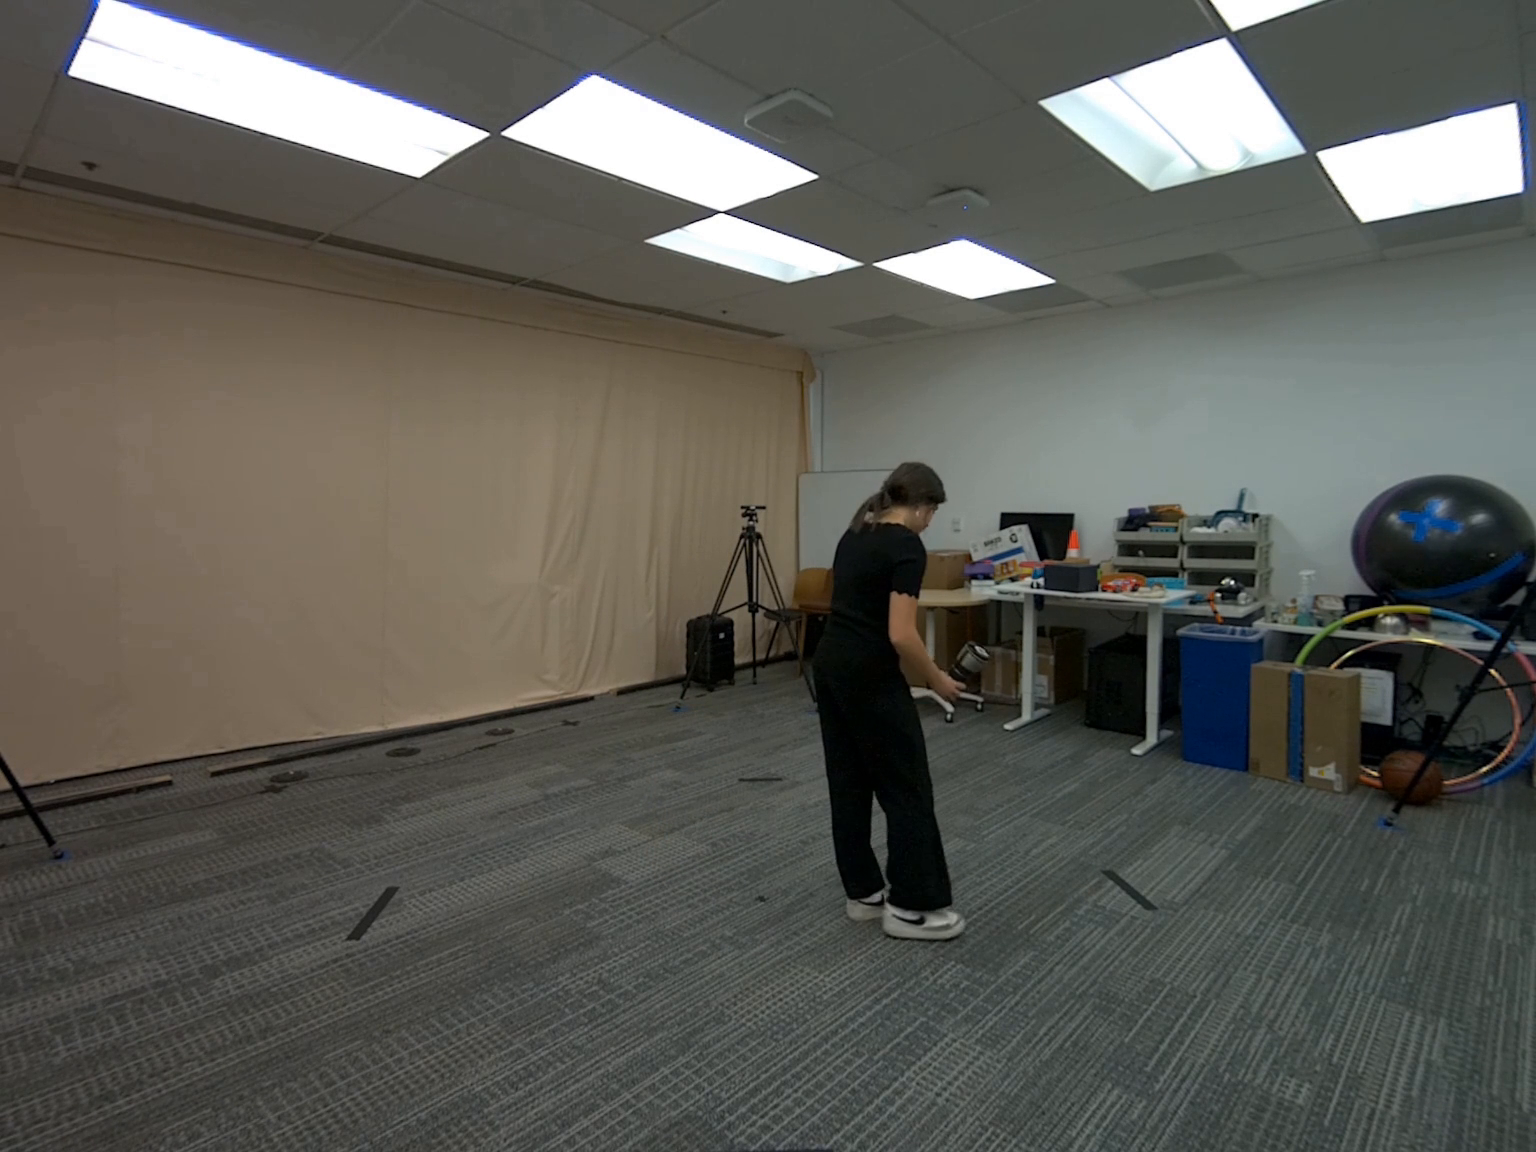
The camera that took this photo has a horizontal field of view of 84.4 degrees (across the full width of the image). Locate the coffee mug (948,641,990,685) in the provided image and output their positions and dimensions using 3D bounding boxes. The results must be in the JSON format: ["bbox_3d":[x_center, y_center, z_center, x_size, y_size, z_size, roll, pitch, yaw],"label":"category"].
[{"bbox_3d":[0.664,0.333,2.803,0.118,0.203,0.091,9,28,-45],"label":"coffee mug"}]
